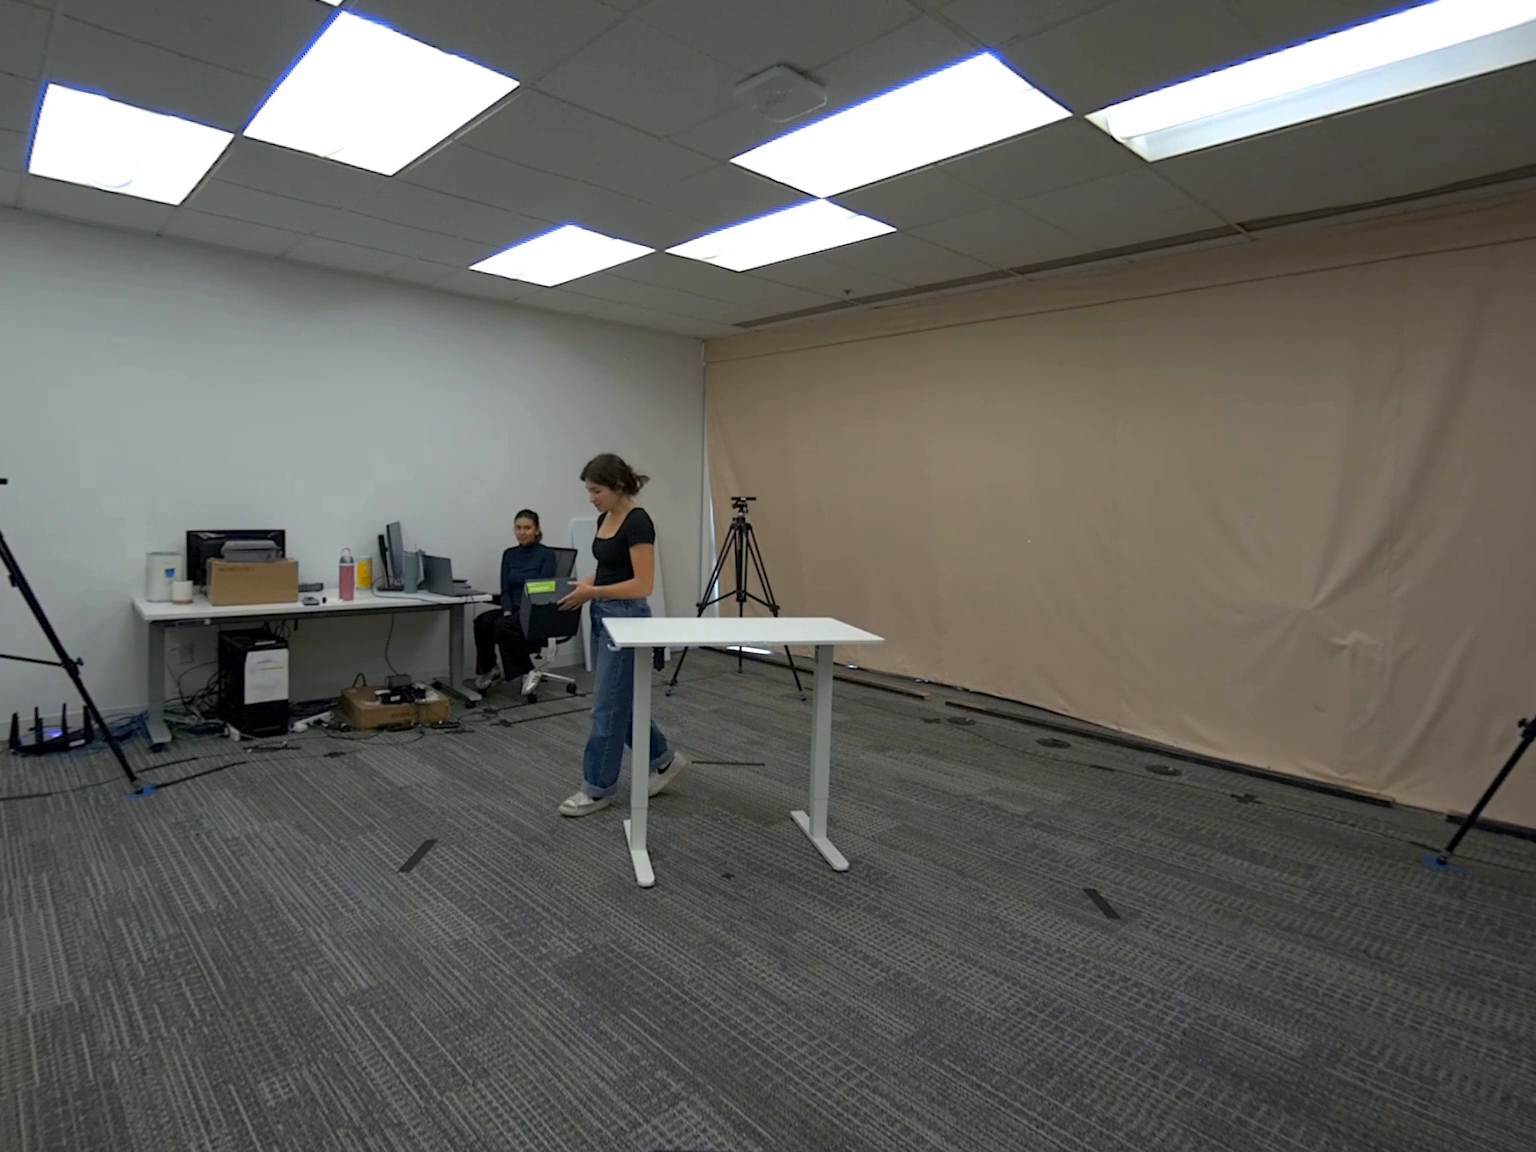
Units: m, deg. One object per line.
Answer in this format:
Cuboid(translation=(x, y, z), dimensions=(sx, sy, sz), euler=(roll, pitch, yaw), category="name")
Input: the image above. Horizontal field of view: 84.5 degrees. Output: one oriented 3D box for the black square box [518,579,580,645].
Cuboid(translation=(-0.953, 0.138, 3.678), dimensions=(0.224, 0.214, 0.161), euler=(-2, 42, -25), category="black square box")
